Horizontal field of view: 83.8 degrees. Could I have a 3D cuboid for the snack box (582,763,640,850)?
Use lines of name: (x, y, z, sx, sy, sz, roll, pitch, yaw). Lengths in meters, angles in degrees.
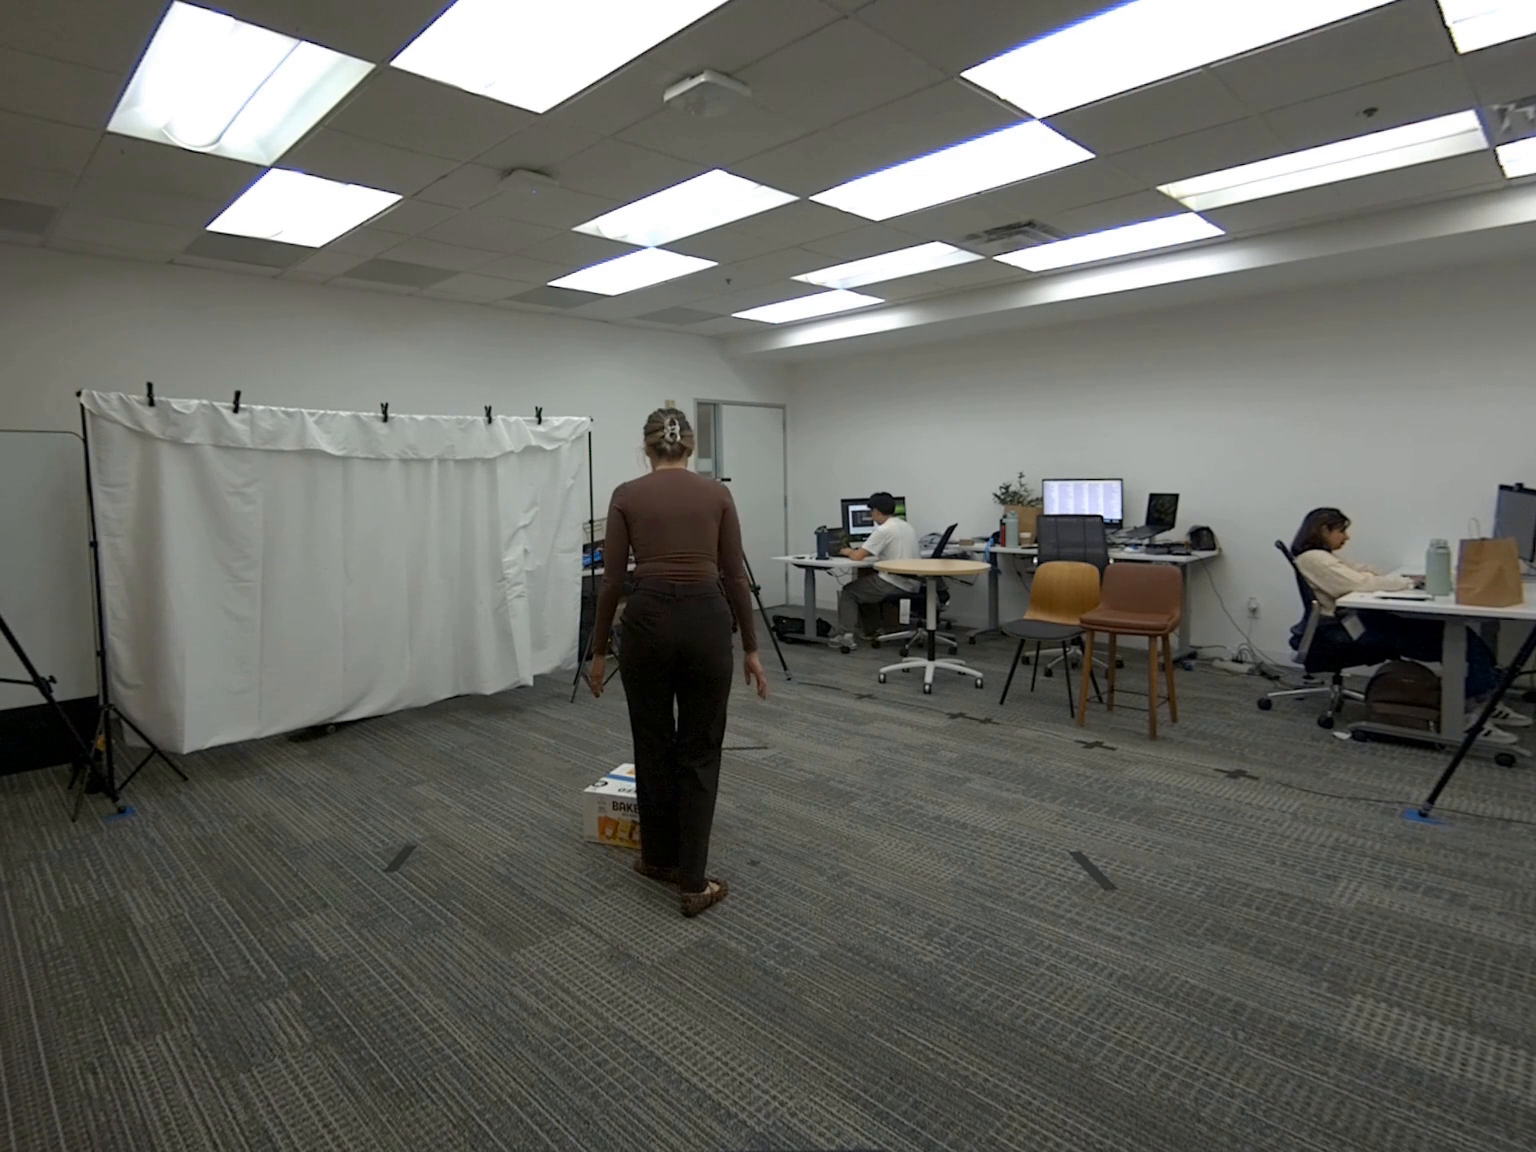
snack box: (-0.469, 0.914, 3.390, 0.413, 0.205, 0.335, 1, 6, 20)
